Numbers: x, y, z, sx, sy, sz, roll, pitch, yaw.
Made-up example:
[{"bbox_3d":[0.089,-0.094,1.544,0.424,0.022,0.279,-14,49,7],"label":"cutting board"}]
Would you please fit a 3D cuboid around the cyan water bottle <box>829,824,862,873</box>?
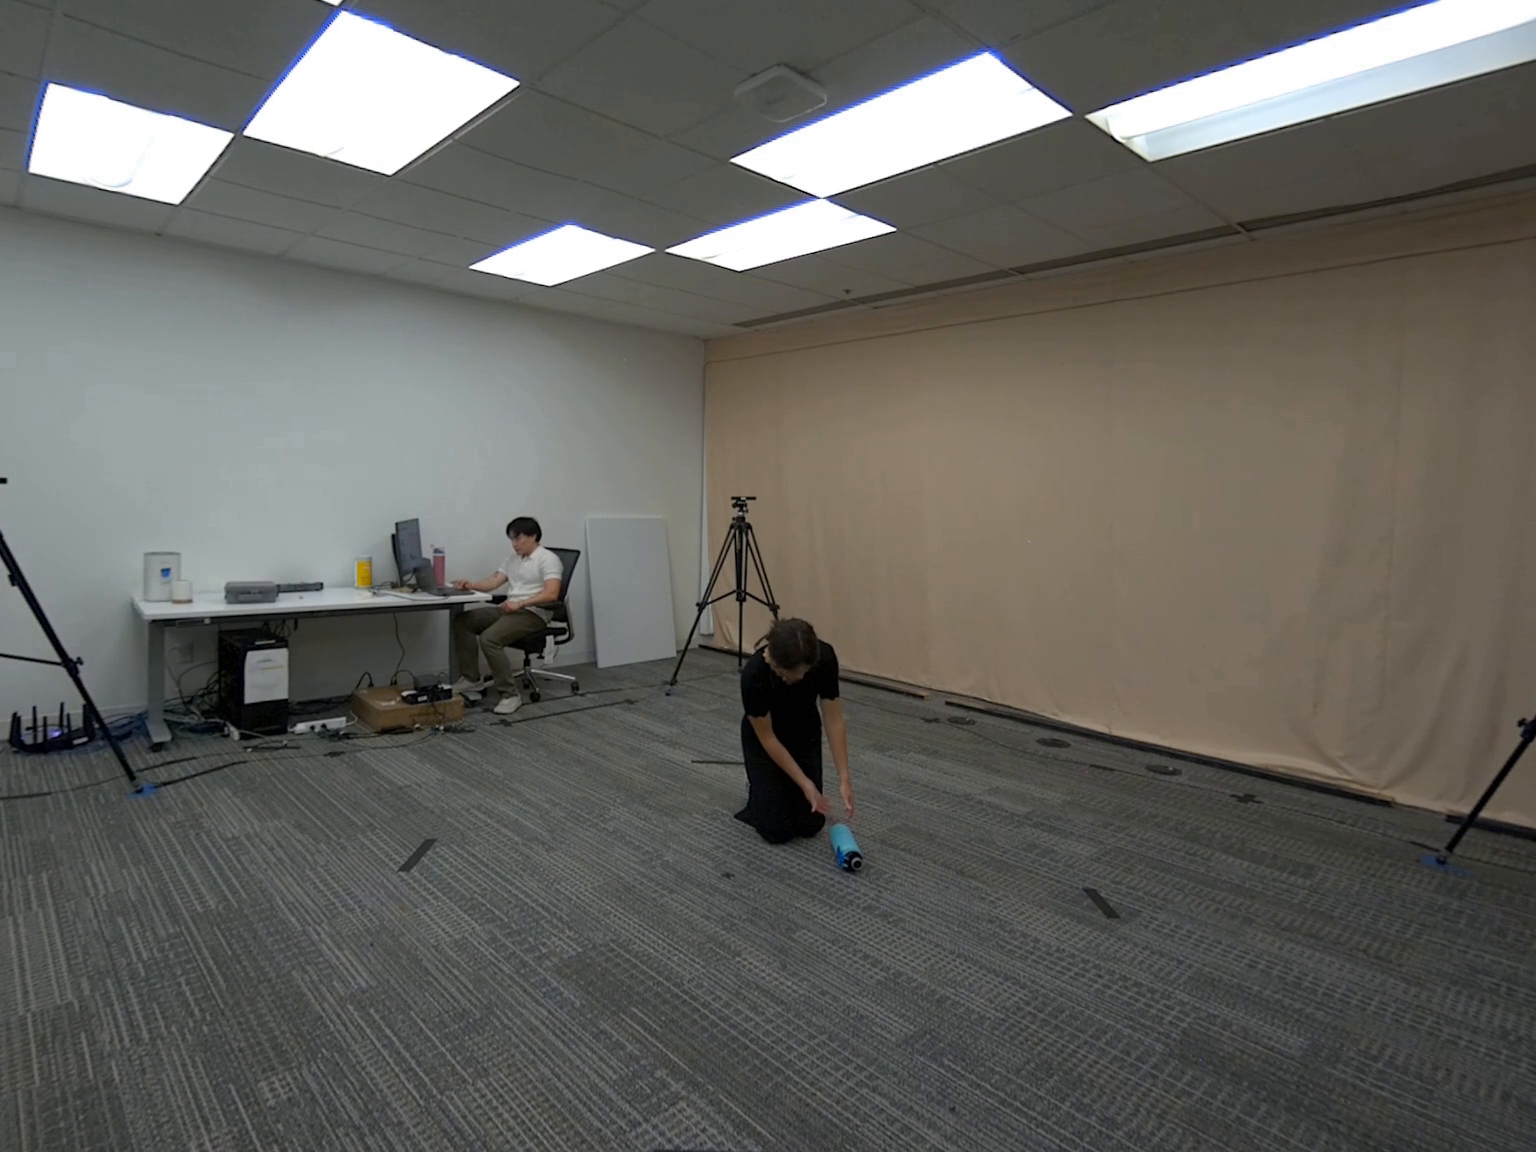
[{"bbox_3d":[0.292,1.055,3.263,0.092,0.092,0.285,1,5,-5],"label":"cyan water bottle"}]
